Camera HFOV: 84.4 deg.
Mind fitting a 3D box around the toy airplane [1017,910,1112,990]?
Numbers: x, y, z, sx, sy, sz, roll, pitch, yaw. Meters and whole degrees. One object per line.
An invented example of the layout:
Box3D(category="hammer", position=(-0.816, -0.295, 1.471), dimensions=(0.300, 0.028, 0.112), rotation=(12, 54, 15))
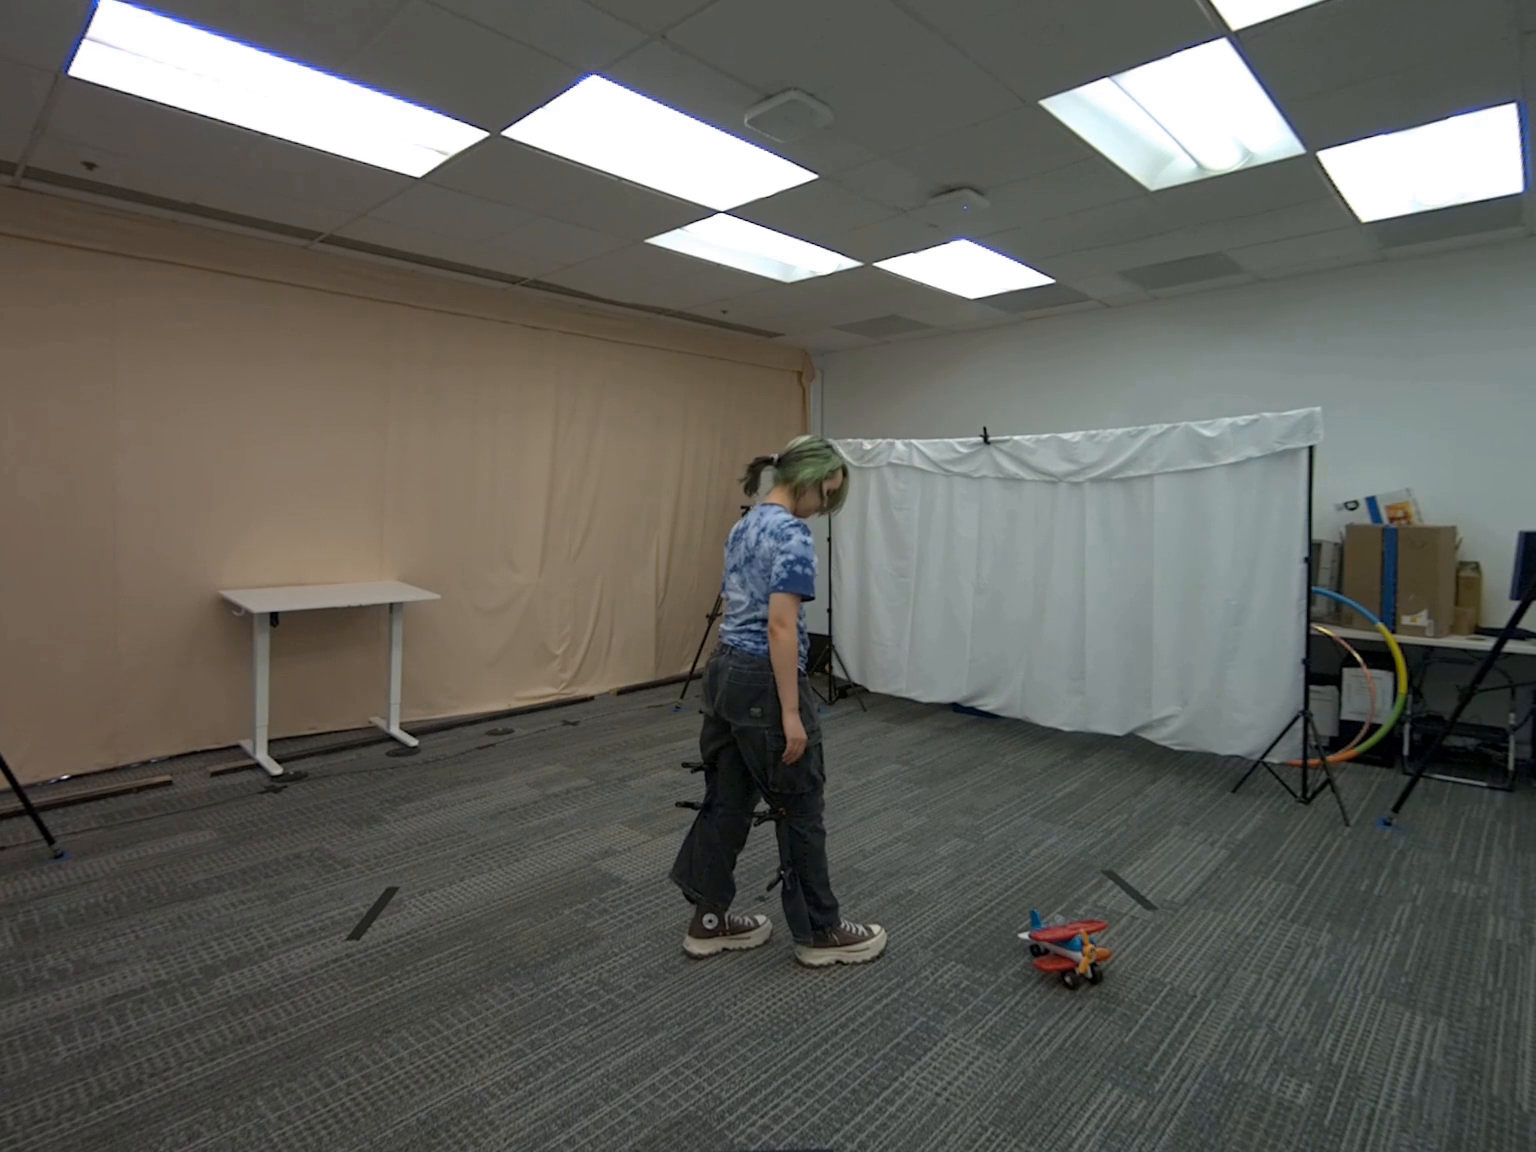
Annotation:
Box3D(category="toy airplane", position=(0.874, 1.113, 2.503), dimensions=(0.268, 0.156, 0.243), rotation=(5, 7, 42))
